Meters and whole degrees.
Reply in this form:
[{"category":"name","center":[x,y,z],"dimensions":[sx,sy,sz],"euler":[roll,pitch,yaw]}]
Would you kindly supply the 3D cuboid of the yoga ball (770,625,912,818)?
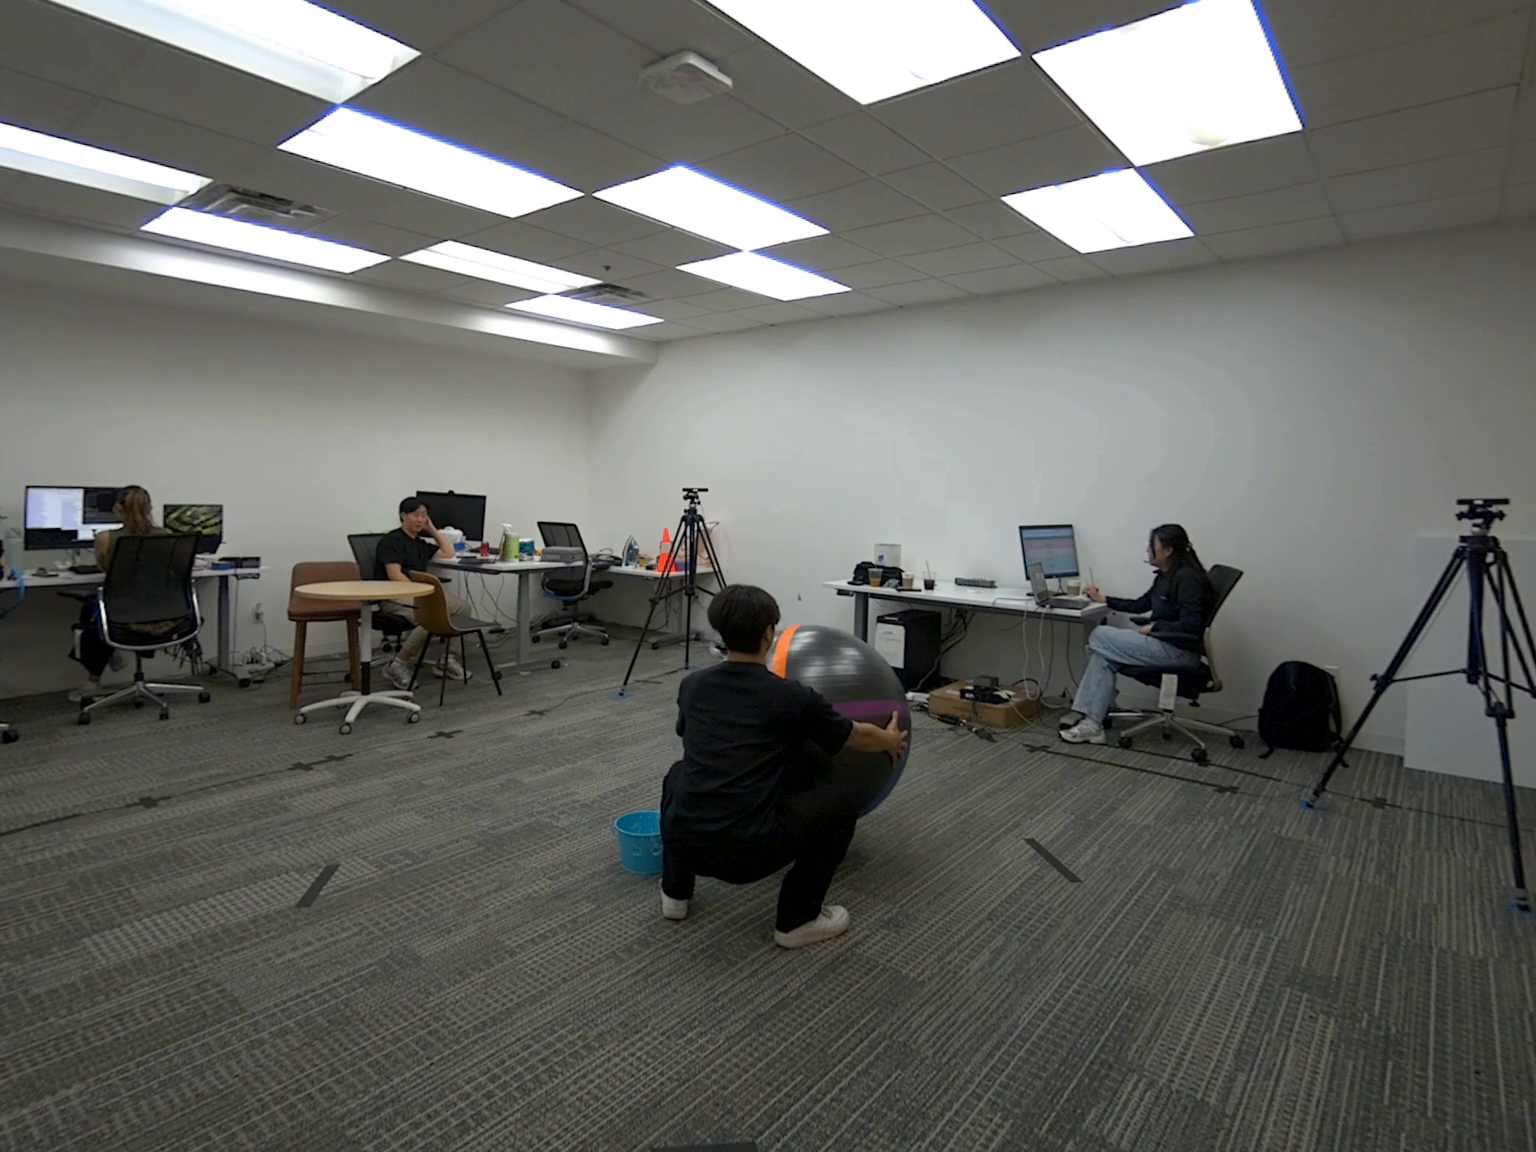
[{"category":"yoga ball","center":[0.173,0.583,3.300],"dimensions":[0.757,0.755,0.762],"euler":[1,4,-2]}]
